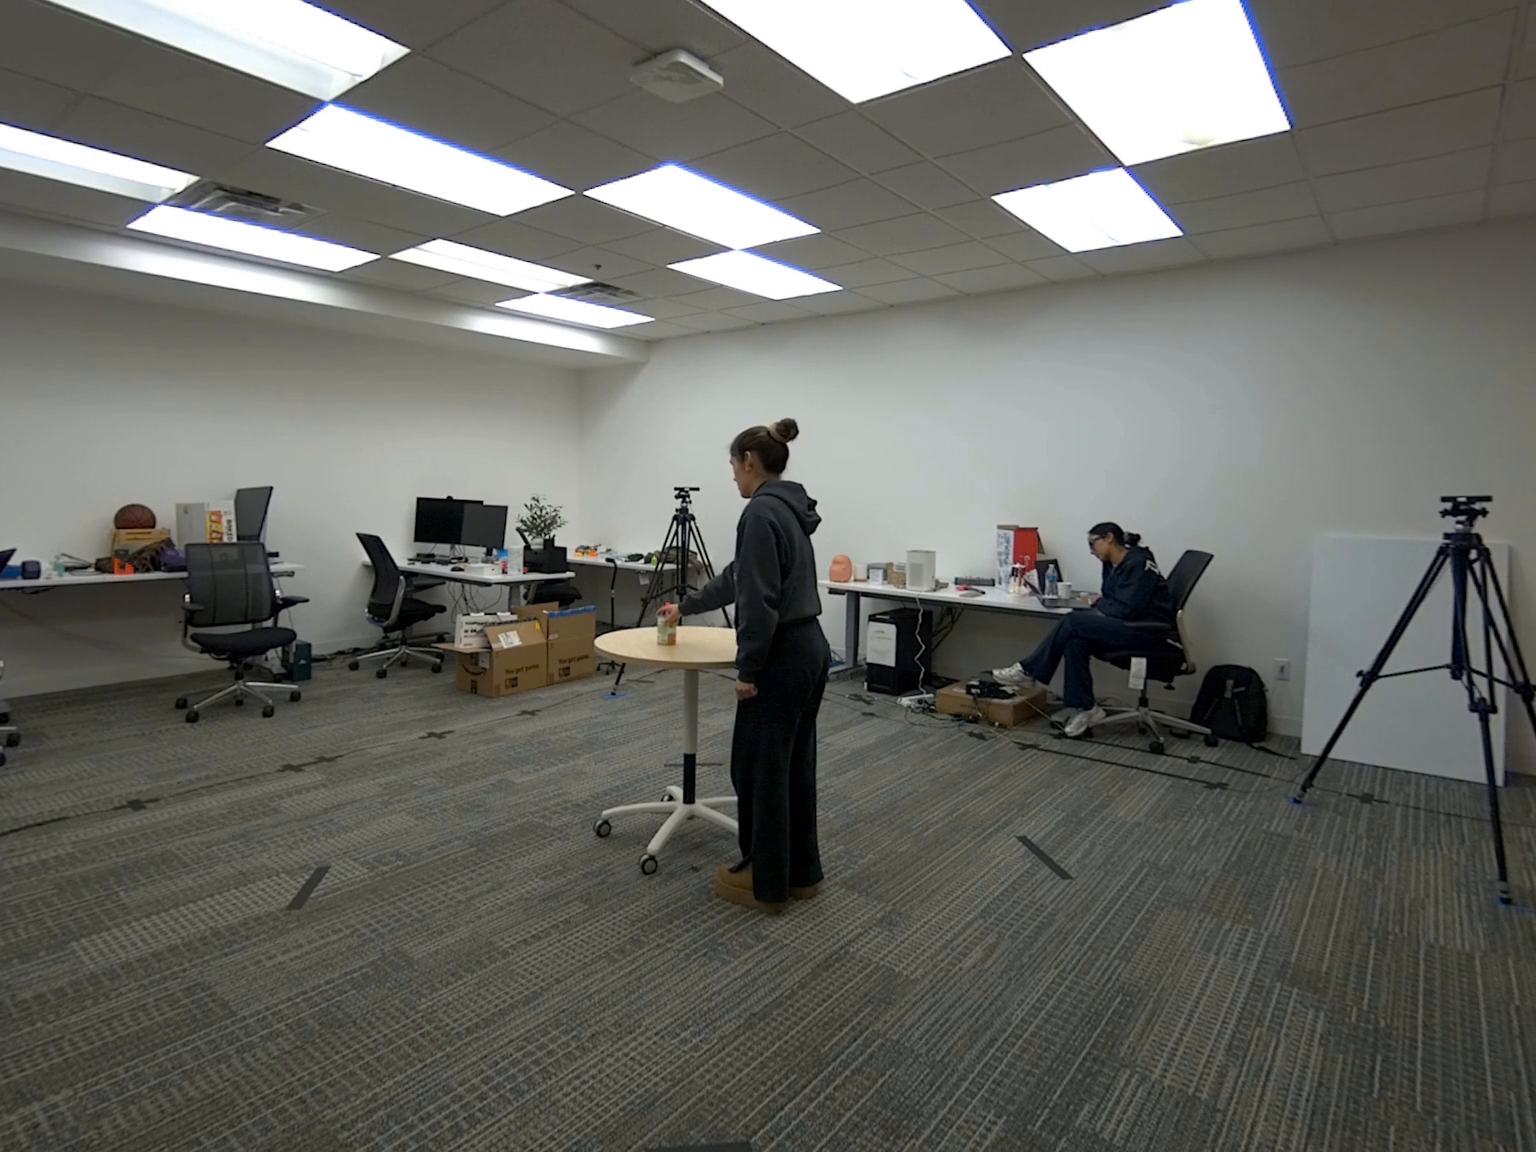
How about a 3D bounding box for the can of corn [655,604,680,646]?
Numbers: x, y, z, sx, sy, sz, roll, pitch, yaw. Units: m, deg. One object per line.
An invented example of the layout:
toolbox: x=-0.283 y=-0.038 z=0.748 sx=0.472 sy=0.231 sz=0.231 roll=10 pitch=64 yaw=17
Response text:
can of corn: x=-0.394 y=0.207 z=3.309 sx=0.074 sy=0.111 sz=0.074 roll=3 pitch=2 yaw=-2
